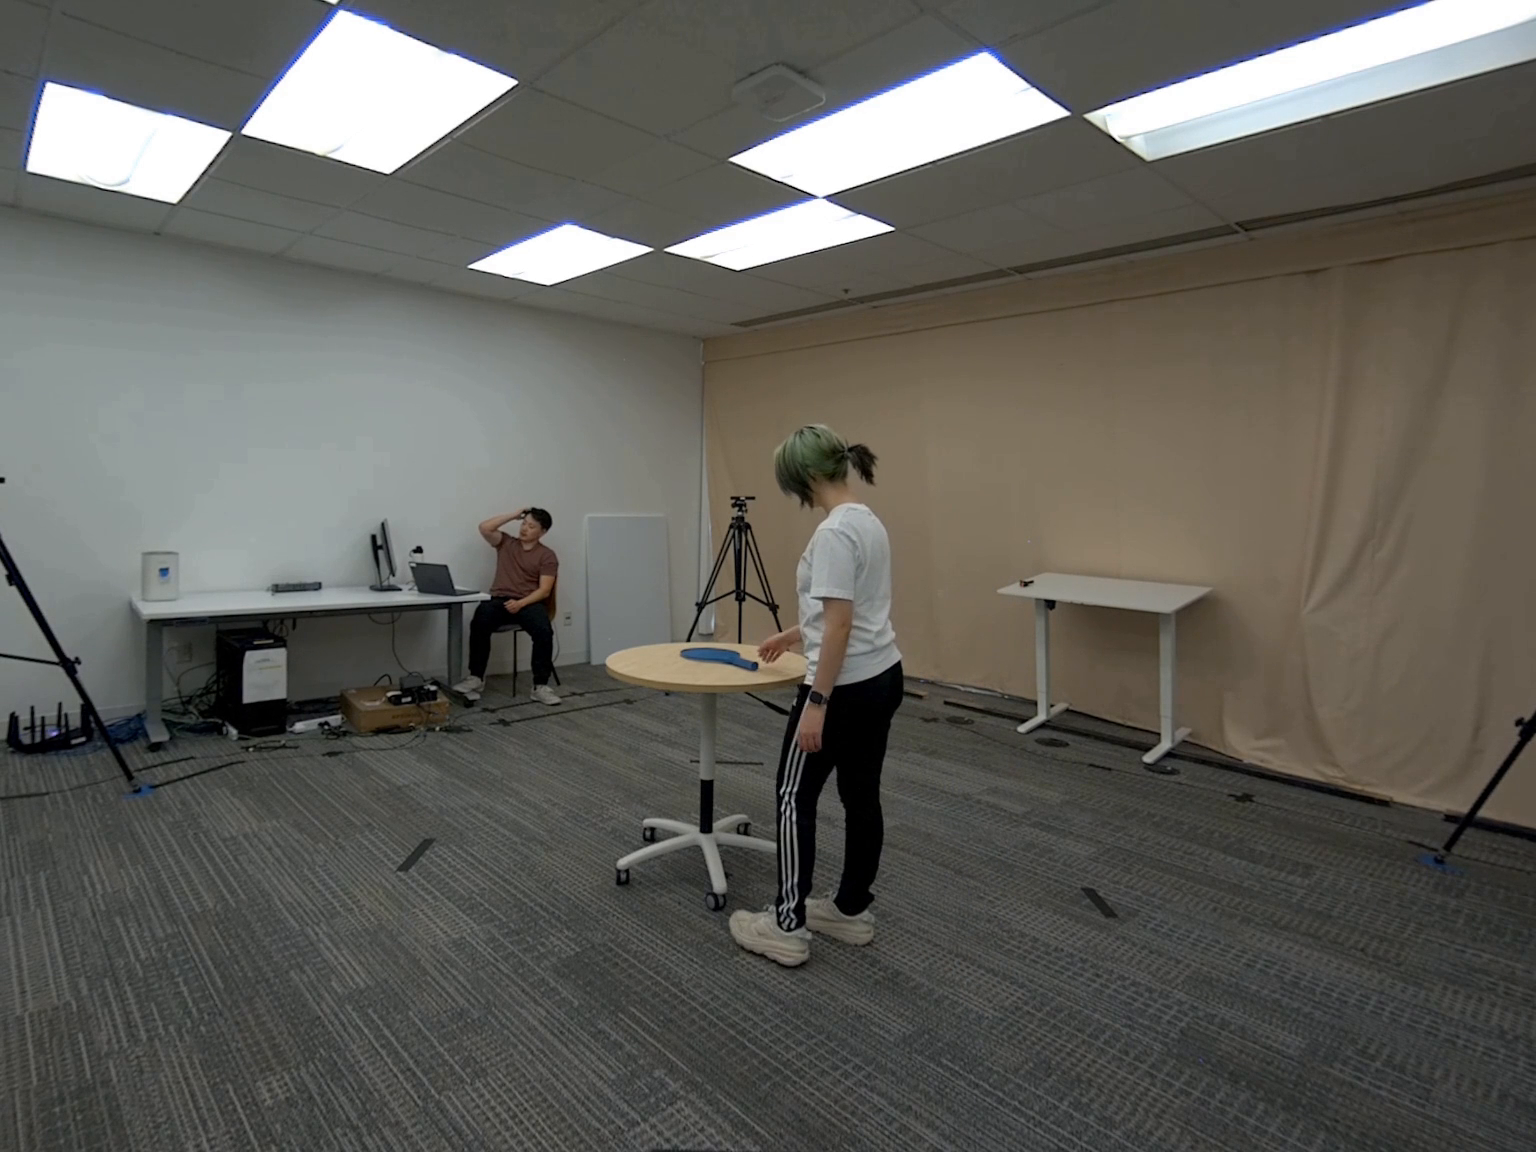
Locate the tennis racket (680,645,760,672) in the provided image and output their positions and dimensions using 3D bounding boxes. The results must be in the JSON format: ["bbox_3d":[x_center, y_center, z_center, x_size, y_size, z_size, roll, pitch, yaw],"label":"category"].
[{"bbox_3d":[-0.182,0.306,3.140,0.209,0.031,0.443,-3,6,-32],"label":"tennis racket"}]
